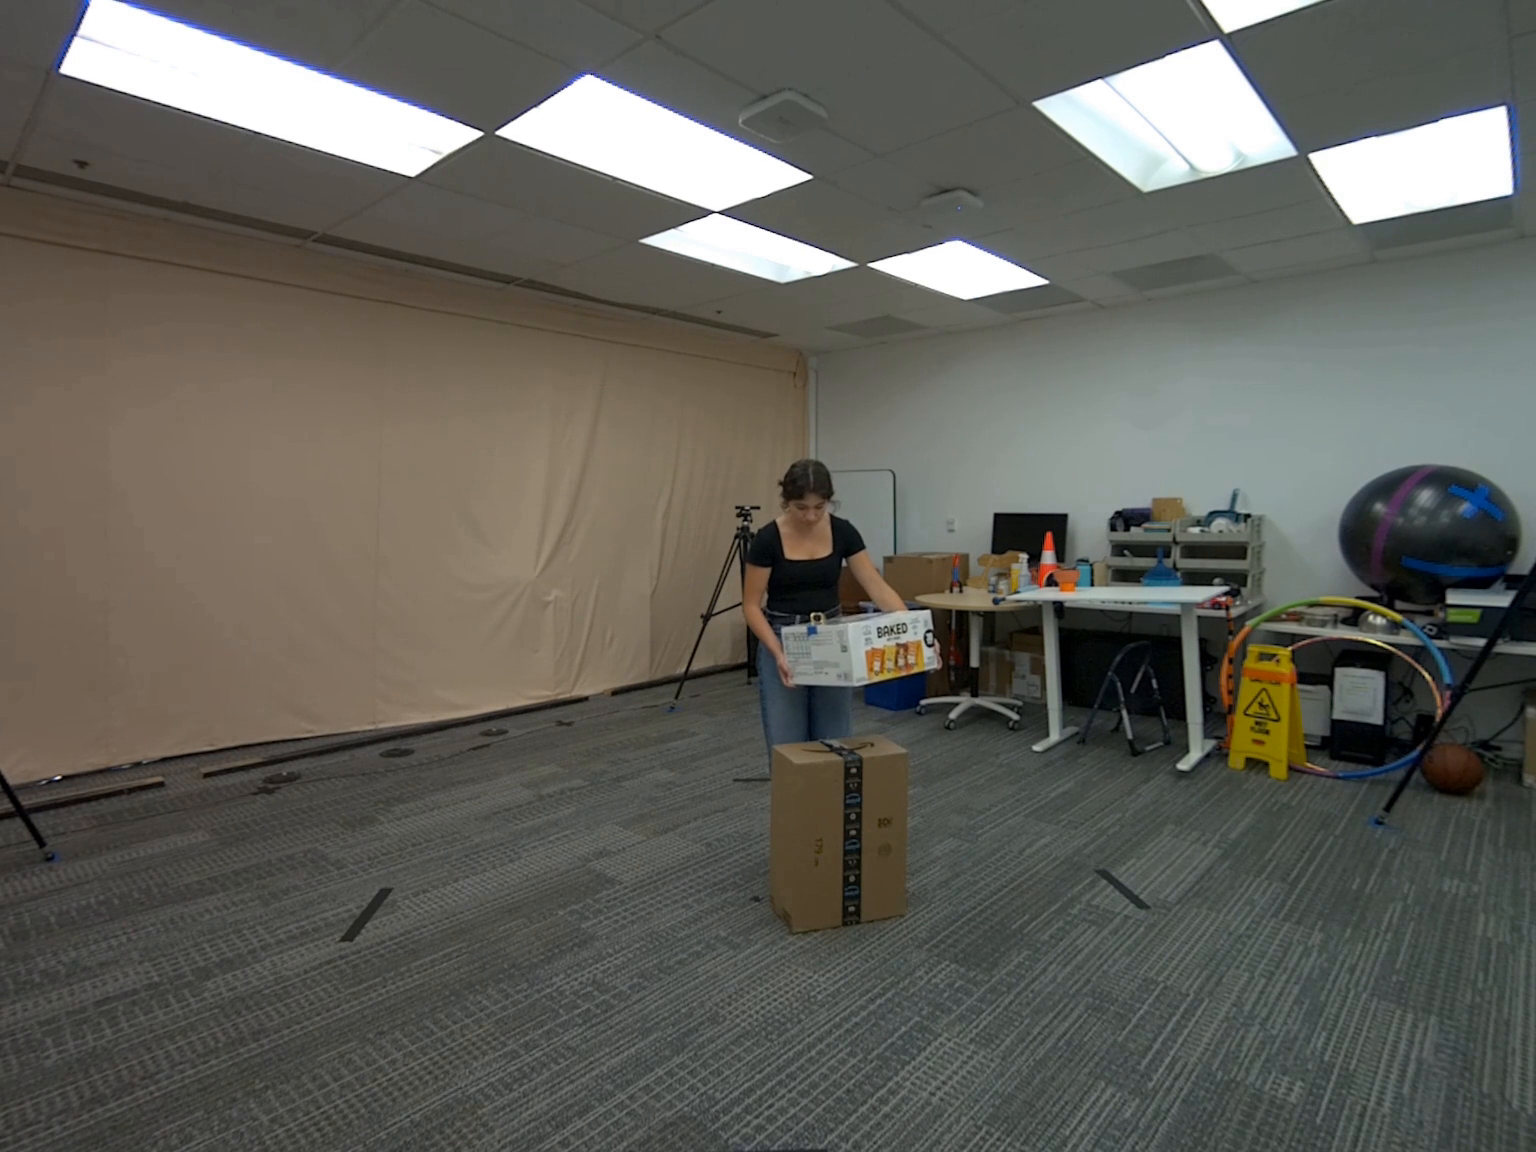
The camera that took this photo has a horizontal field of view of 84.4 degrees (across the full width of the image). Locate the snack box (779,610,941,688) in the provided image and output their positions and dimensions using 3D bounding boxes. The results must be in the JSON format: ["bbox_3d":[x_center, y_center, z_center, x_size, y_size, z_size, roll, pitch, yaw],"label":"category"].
[{"bbox_3d":[0.314,0.256,2.944,0.393,0.206,0.350,-6,-1,-37],"label":"snack box"}]
